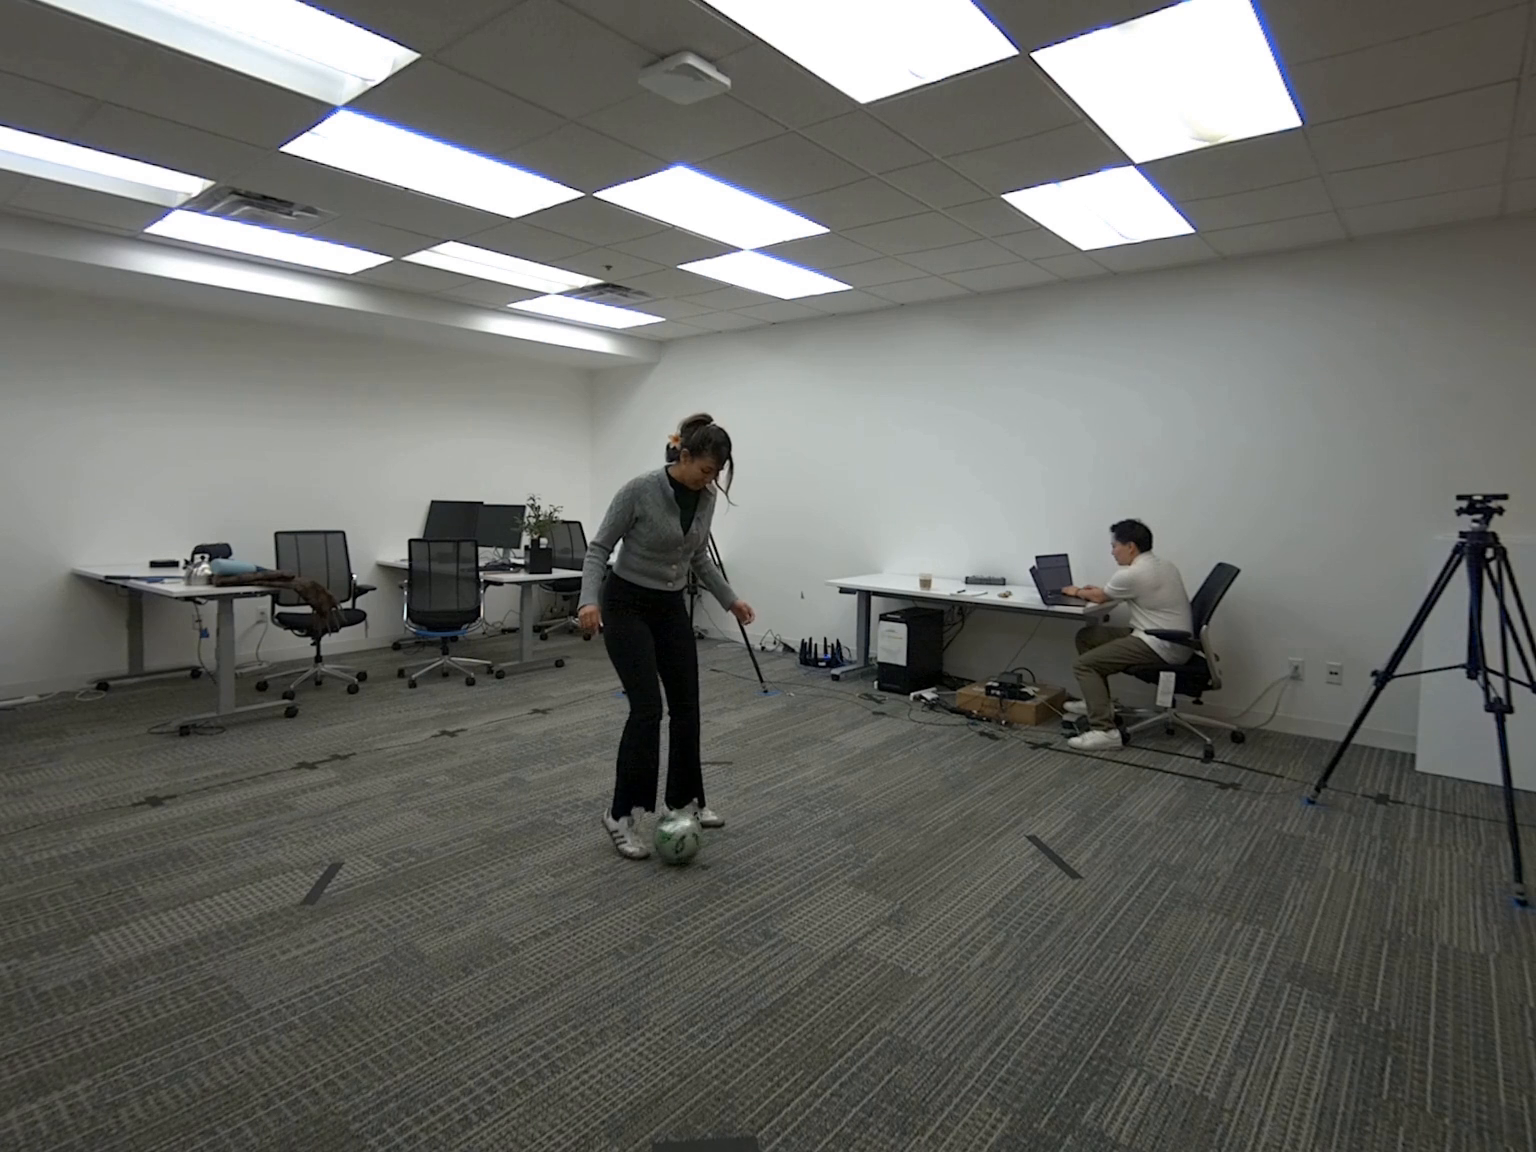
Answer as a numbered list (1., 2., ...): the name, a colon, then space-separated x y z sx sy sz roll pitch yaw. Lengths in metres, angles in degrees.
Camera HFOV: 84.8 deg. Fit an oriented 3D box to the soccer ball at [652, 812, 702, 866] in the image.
1. soccer ball: -0.331 0.958 3.151 0.187 0.187 0.188 1 4 -2
